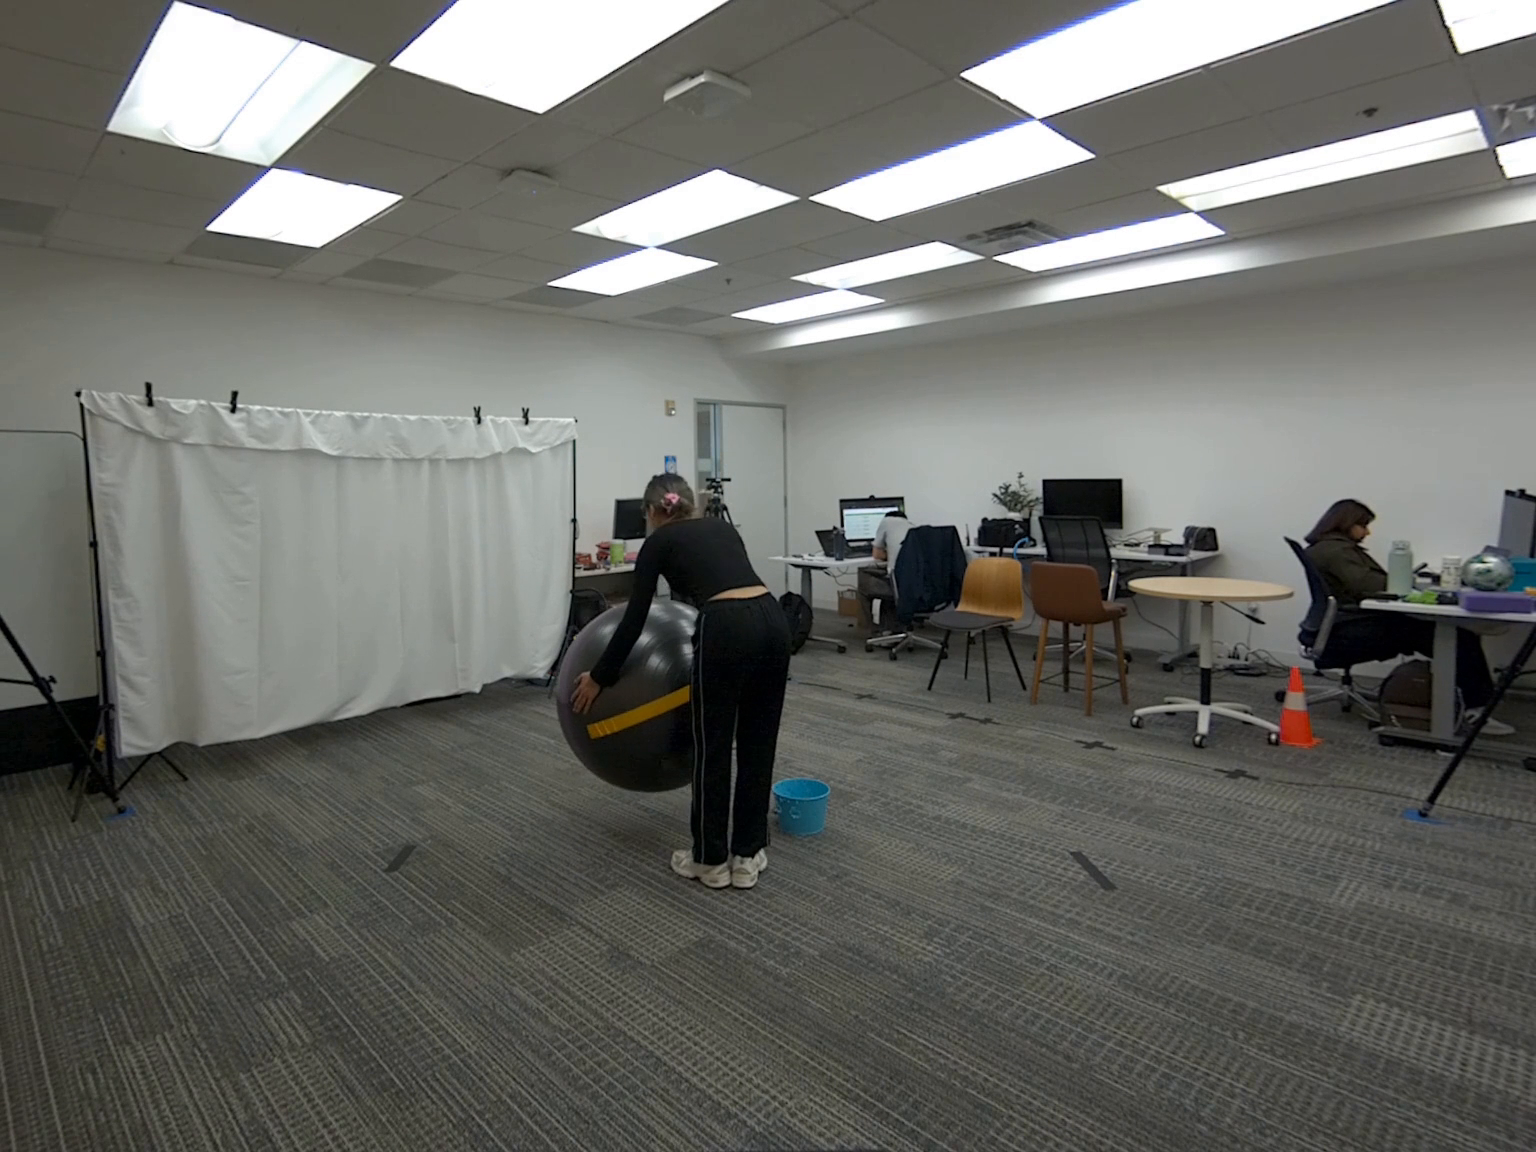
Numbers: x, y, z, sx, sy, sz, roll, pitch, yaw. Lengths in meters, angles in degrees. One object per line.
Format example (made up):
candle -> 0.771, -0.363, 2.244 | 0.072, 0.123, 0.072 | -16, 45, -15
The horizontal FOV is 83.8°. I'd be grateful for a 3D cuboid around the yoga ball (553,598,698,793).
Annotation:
yoga ball -> -0.455, 0.466, 3.411 | 0.757, 0.755, 0.762 | -1, 5, -2
